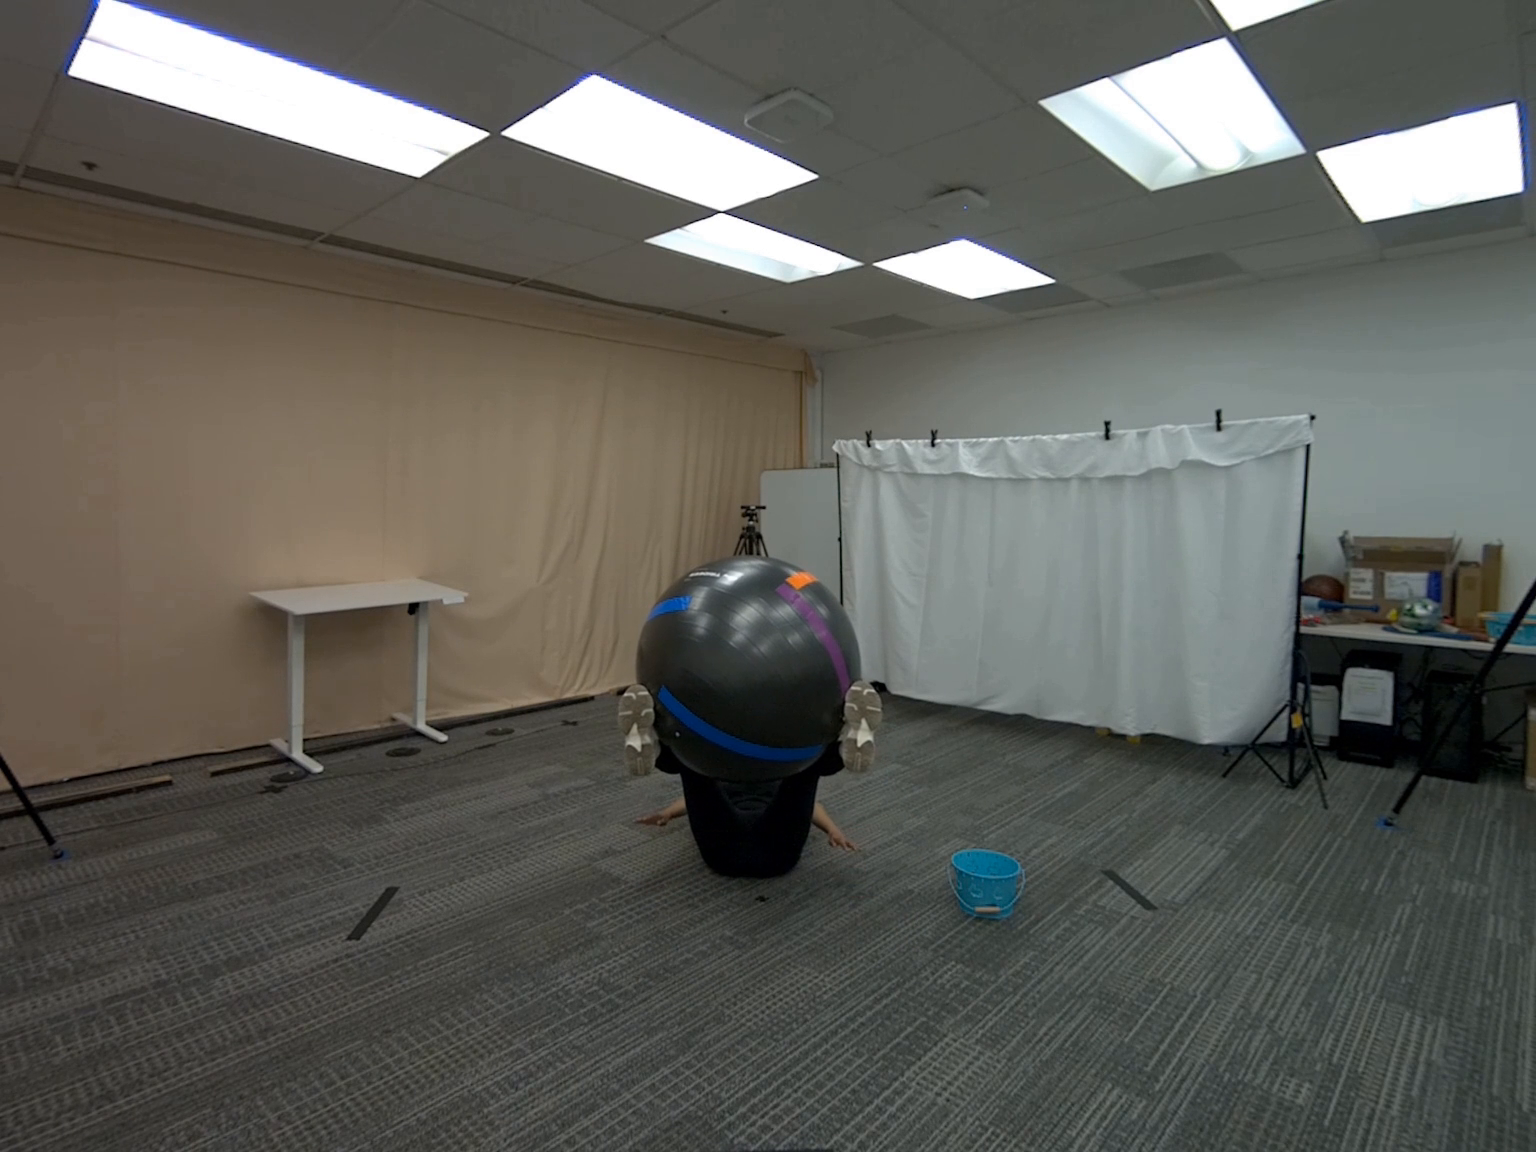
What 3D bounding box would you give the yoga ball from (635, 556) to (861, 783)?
[{"bbox_3d":[-0.072,0.313,2.839,0.757,0.756,0.760,0,4,-2],"label":"yoga ball"}]
